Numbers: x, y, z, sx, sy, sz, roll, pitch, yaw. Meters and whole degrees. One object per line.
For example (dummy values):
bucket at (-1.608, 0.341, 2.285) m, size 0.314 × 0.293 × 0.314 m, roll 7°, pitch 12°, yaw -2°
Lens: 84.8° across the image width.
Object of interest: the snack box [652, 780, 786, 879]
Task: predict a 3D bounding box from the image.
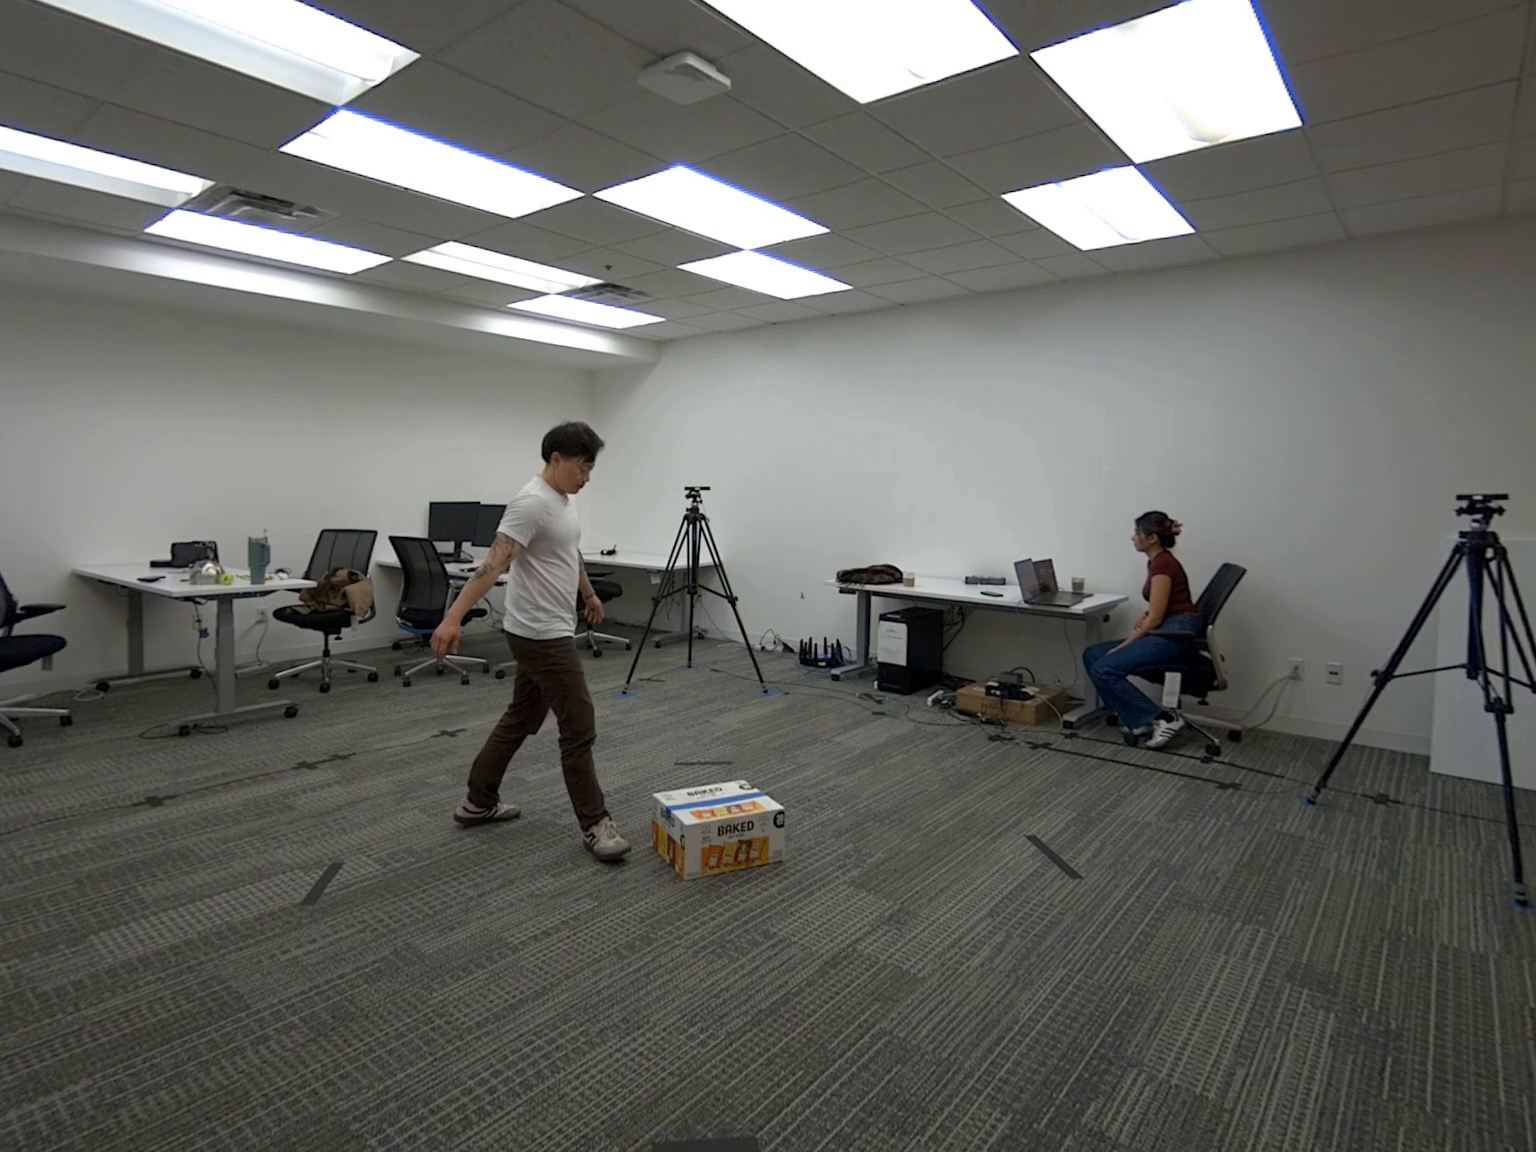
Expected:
snack box at (-0.206, 0.951, 3.231) m, size 0.395 × 0.205 × 0.350 m, roll -2°, pitch 6°, yaw -27°
